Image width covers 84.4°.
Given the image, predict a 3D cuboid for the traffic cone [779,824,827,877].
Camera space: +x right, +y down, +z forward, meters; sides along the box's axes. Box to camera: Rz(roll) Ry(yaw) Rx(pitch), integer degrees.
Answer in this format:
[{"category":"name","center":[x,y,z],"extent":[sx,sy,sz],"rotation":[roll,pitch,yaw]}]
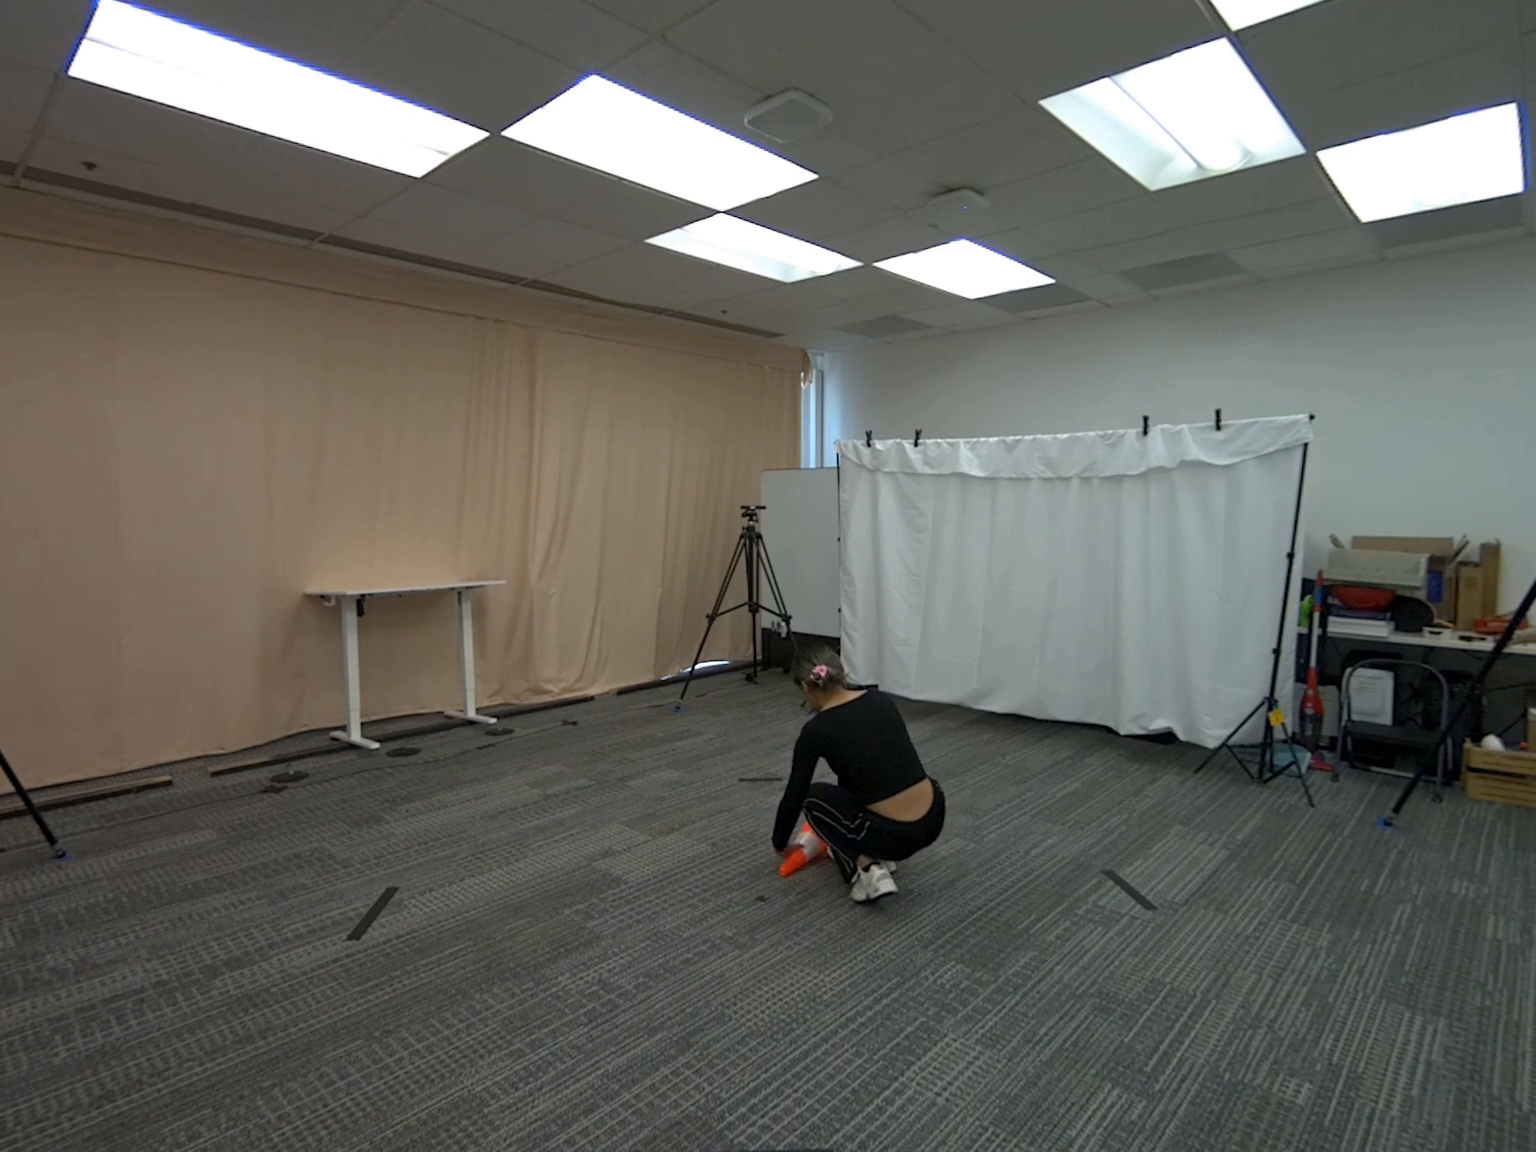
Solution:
[{"category":"traffic cone","center":[0.162,1.058,3.303],"extent":[0.209,0.203,0.377],"rotation":[1,17,30]}]
